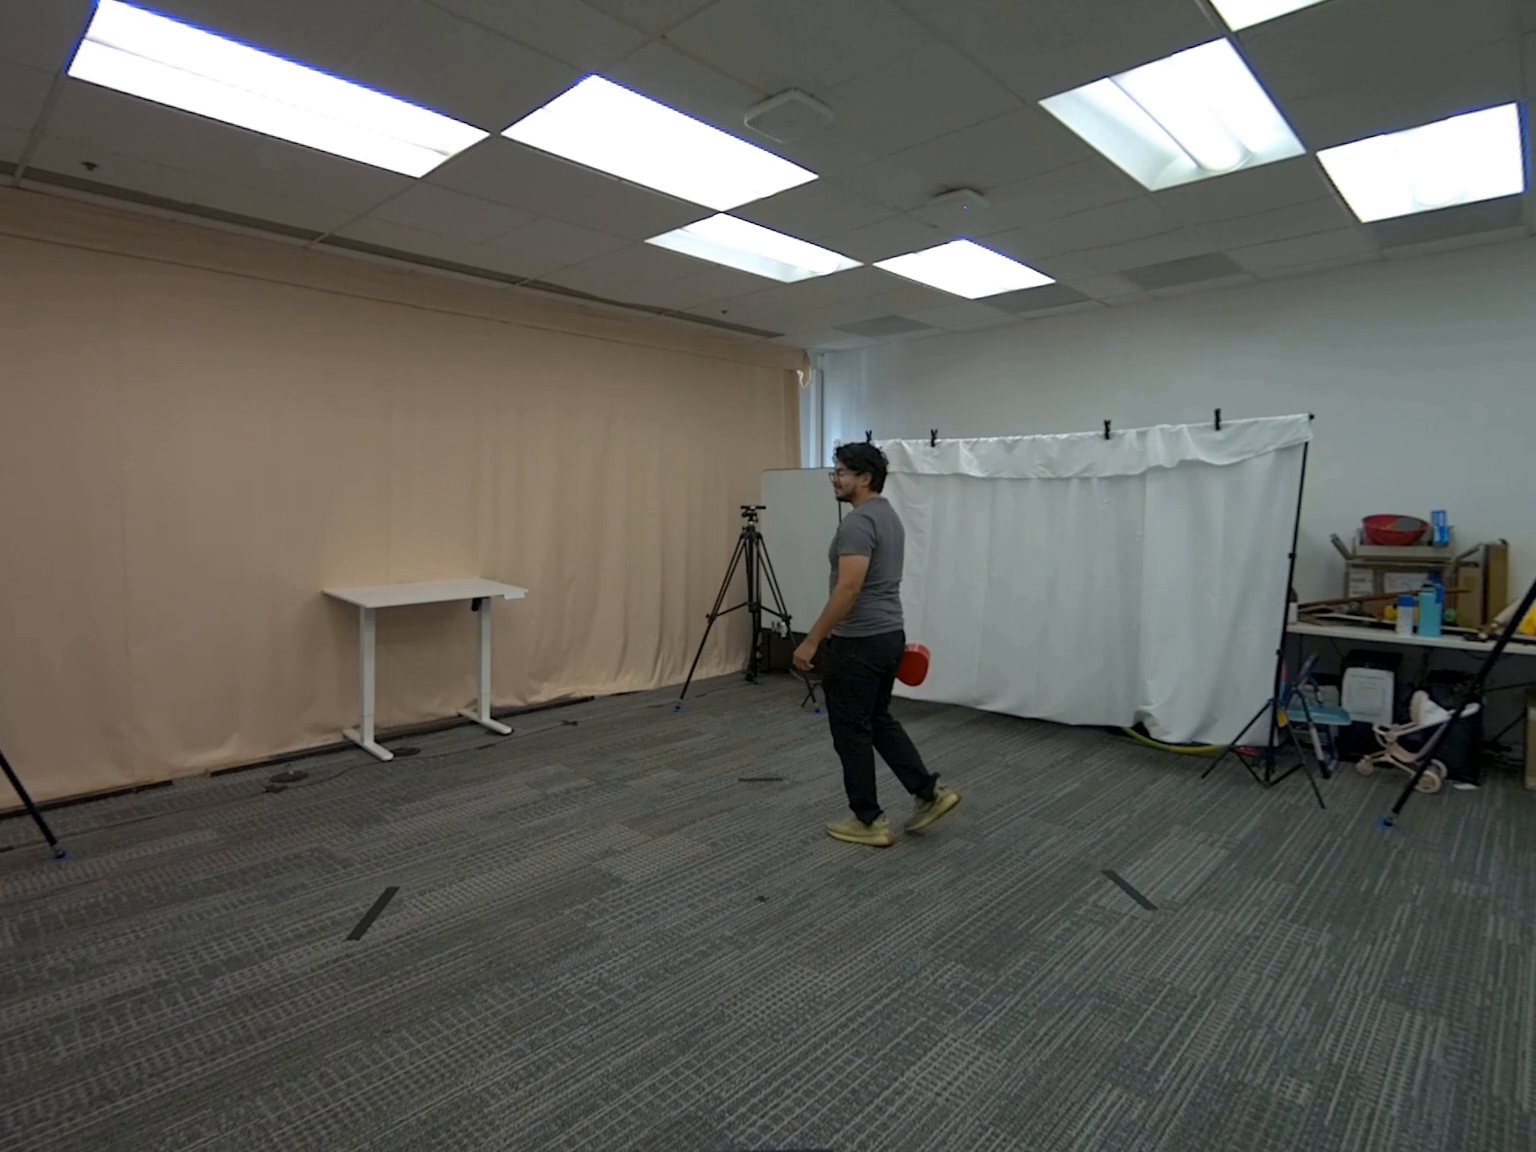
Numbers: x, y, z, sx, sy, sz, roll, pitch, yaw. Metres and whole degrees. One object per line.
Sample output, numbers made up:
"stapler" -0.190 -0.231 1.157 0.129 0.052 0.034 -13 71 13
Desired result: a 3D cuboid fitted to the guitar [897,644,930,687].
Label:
"guitar" 0.483 0.369 3.769 0.509 0.190 0.070 9 29 19
